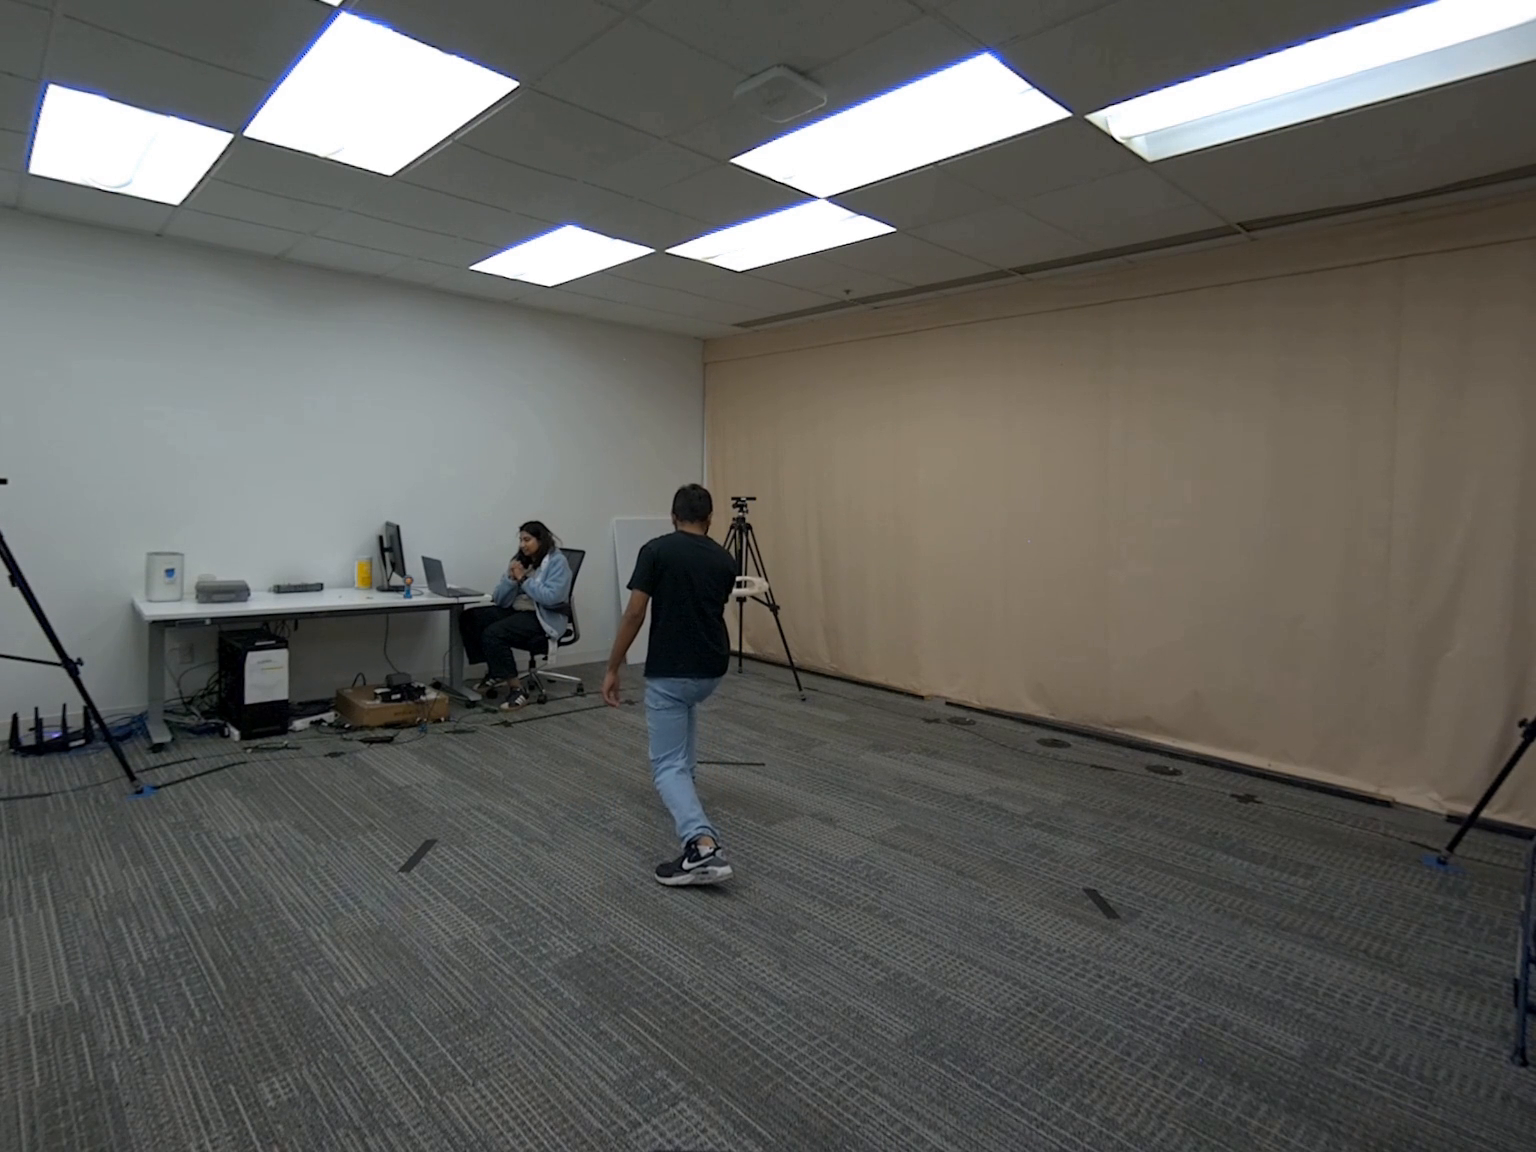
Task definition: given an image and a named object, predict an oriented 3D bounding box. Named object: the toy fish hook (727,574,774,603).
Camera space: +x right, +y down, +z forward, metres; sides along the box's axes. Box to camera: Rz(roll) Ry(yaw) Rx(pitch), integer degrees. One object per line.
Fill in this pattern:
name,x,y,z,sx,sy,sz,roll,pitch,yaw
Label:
toy fish hook,-0.249,0.069,4.272,0.502,0.047,0.229,-5,20,-12
